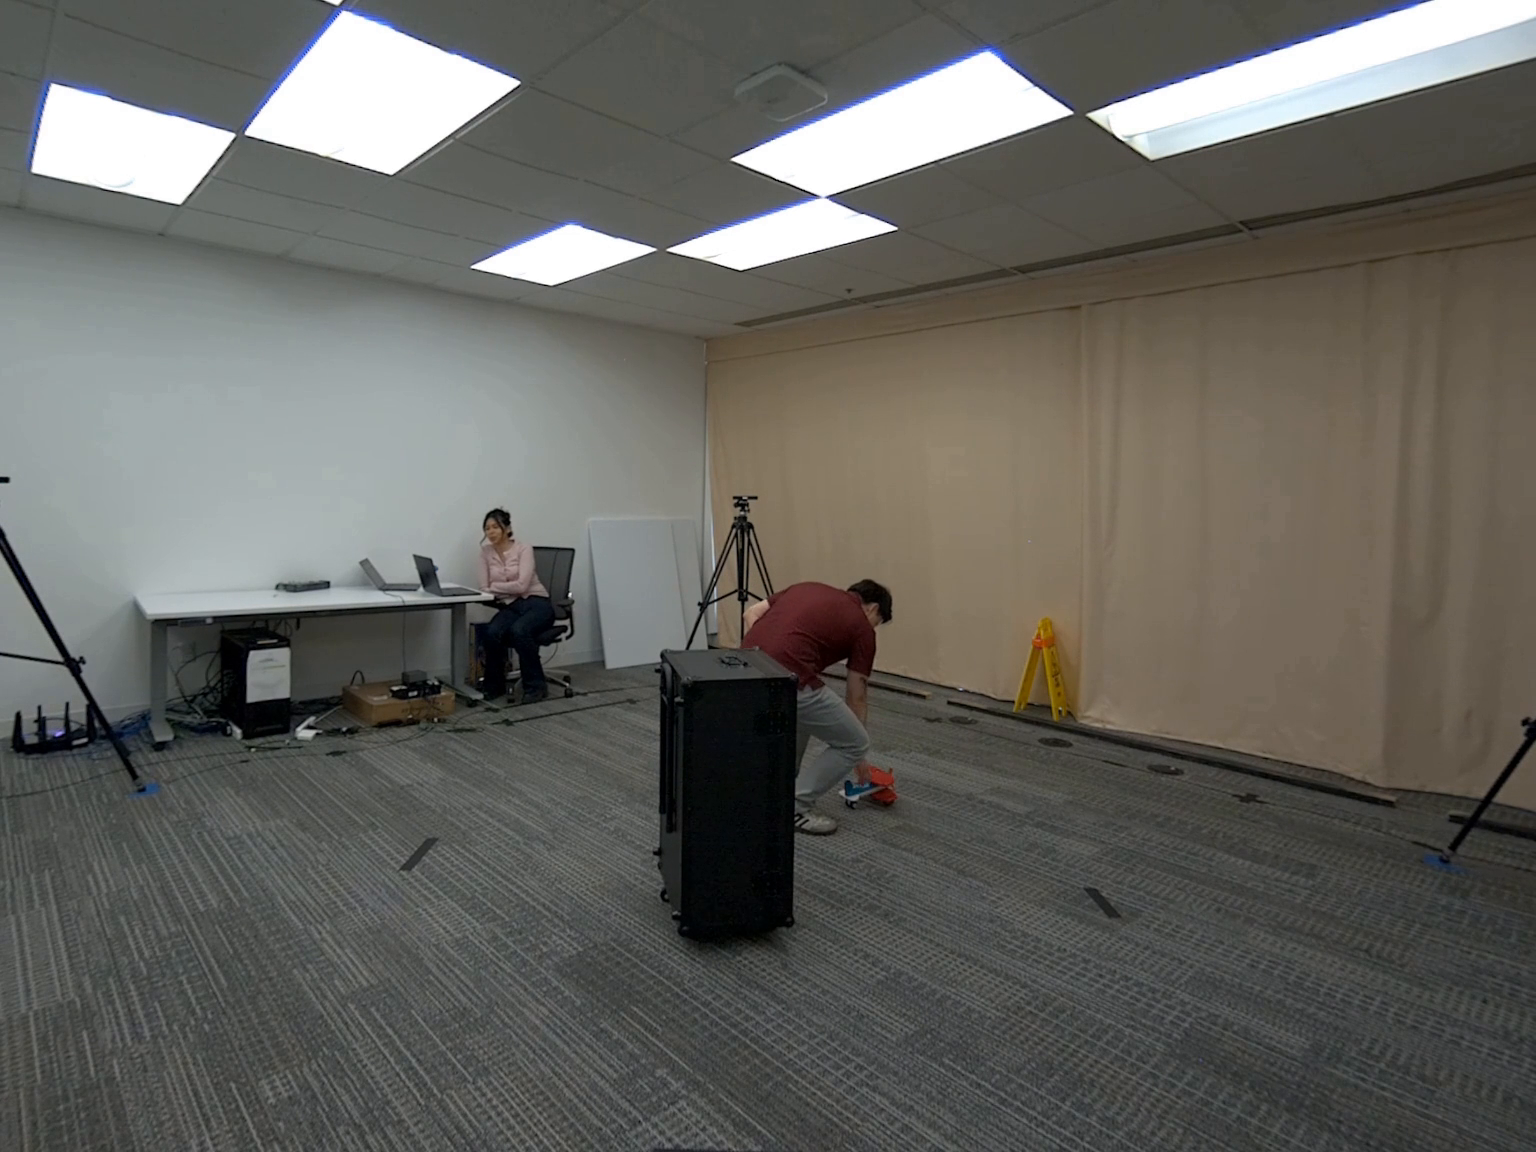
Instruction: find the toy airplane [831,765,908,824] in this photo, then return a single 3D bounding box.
[{"bbox_3d":[0.462,0.985,3.863,0.257,0.156,0.254,4,4,34],"label":"toy airplane"}]
